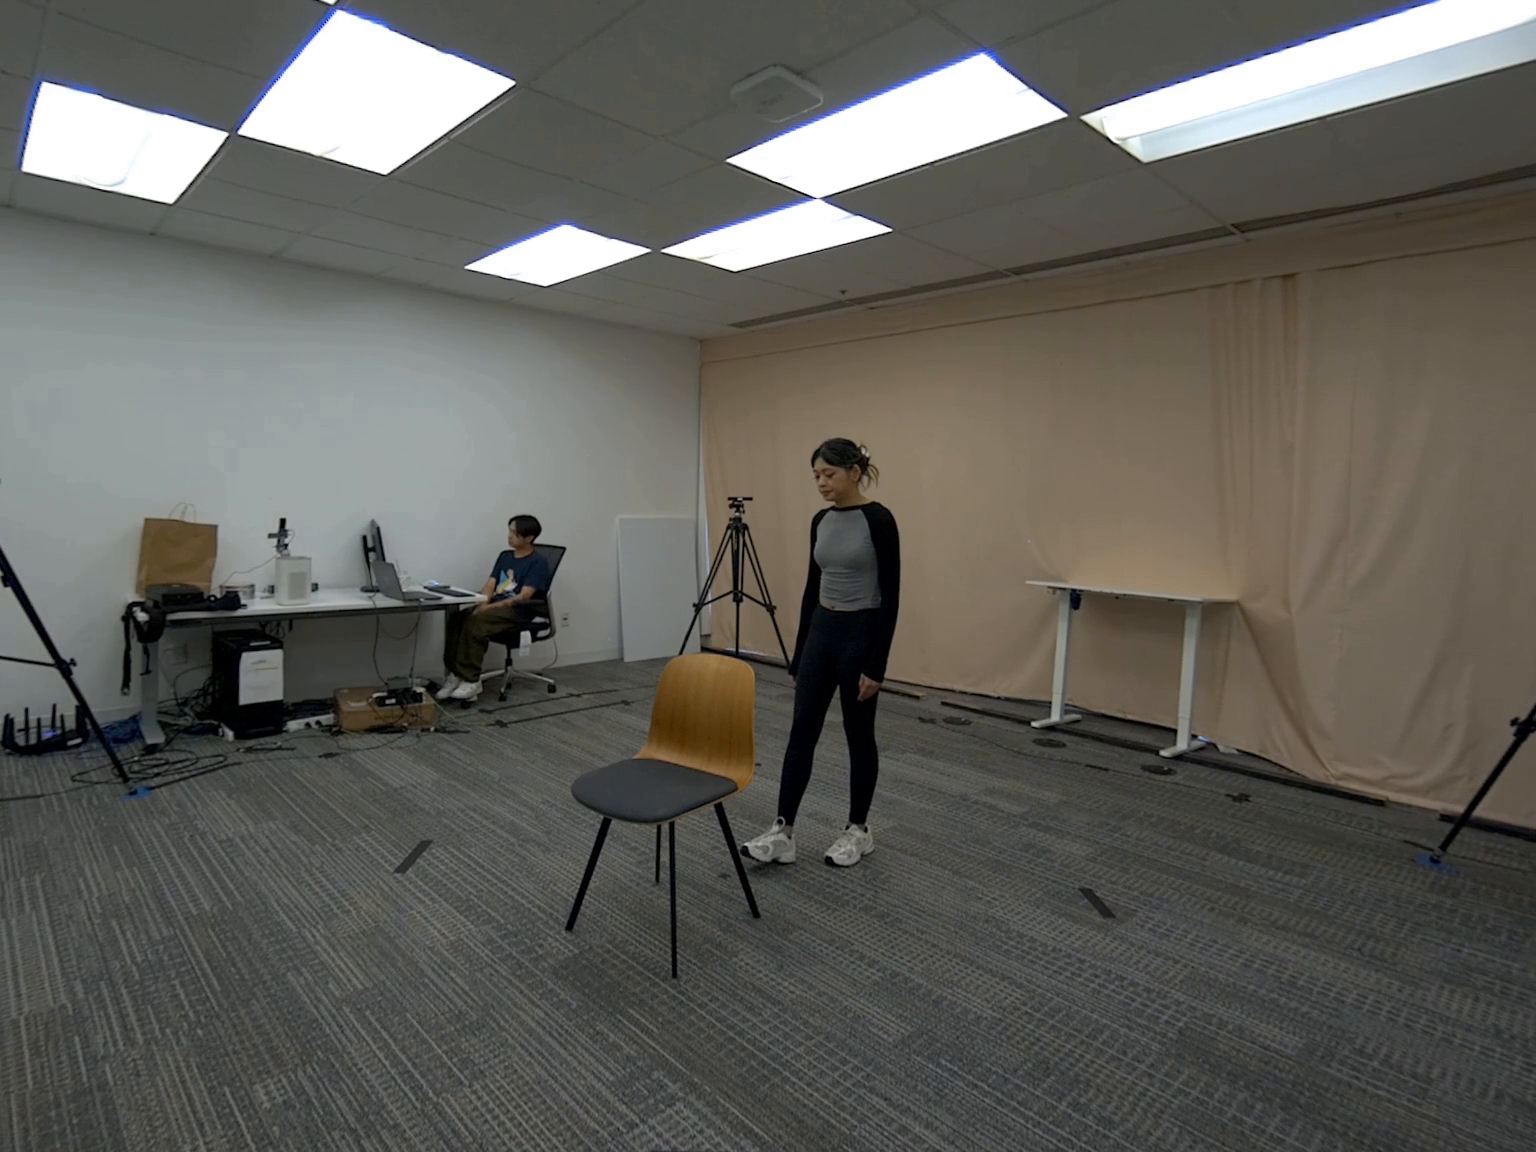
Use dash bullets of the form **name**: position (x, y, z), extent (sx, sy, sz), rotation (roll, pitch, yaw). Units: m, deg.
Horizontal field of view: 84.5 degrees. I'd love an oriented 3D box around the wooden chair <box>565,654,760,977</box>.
- **wooden chair**: position (-0.330, 0.712, 2.702), extent (0.489, 0.878, 0.511), rotation (4, 0, 34)
